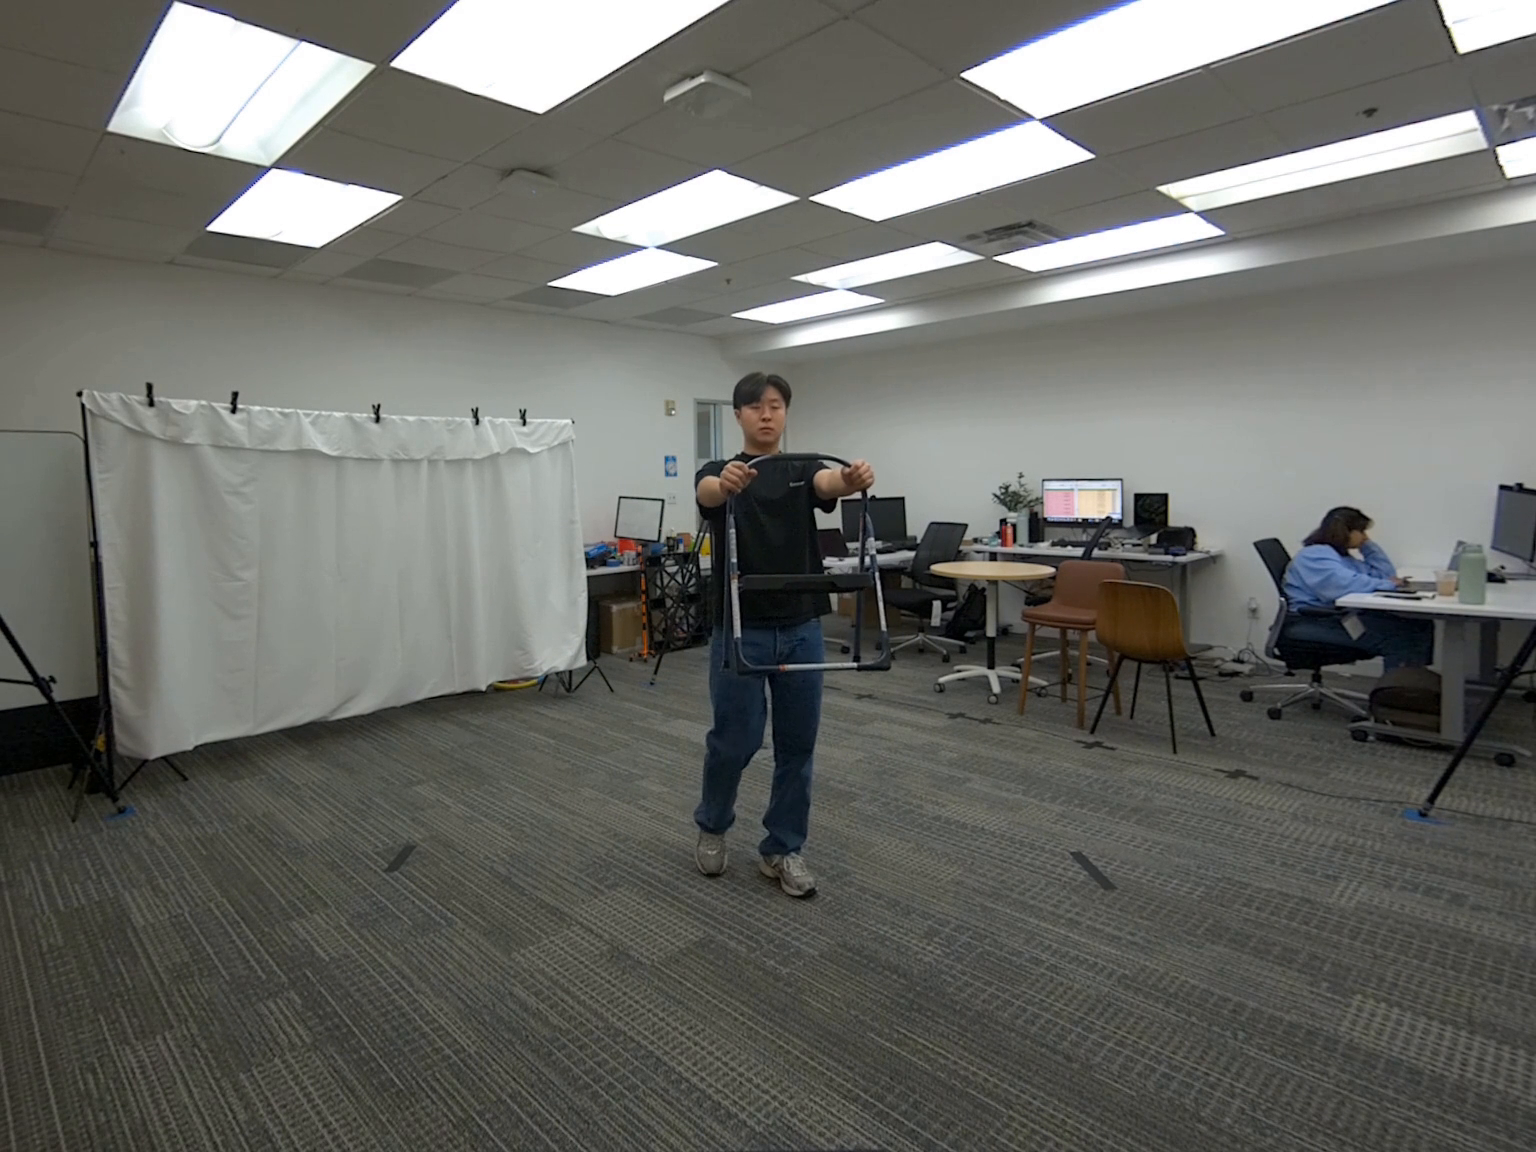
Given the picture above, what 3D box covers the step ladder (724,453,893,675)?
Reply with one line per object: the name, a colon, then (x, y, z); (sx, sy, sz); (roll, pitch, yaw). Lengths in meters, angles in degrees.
step ladder: (0.073, -0.029, 2.429); (0.428, 0.609, 0.350); (-3, -5, -7)
